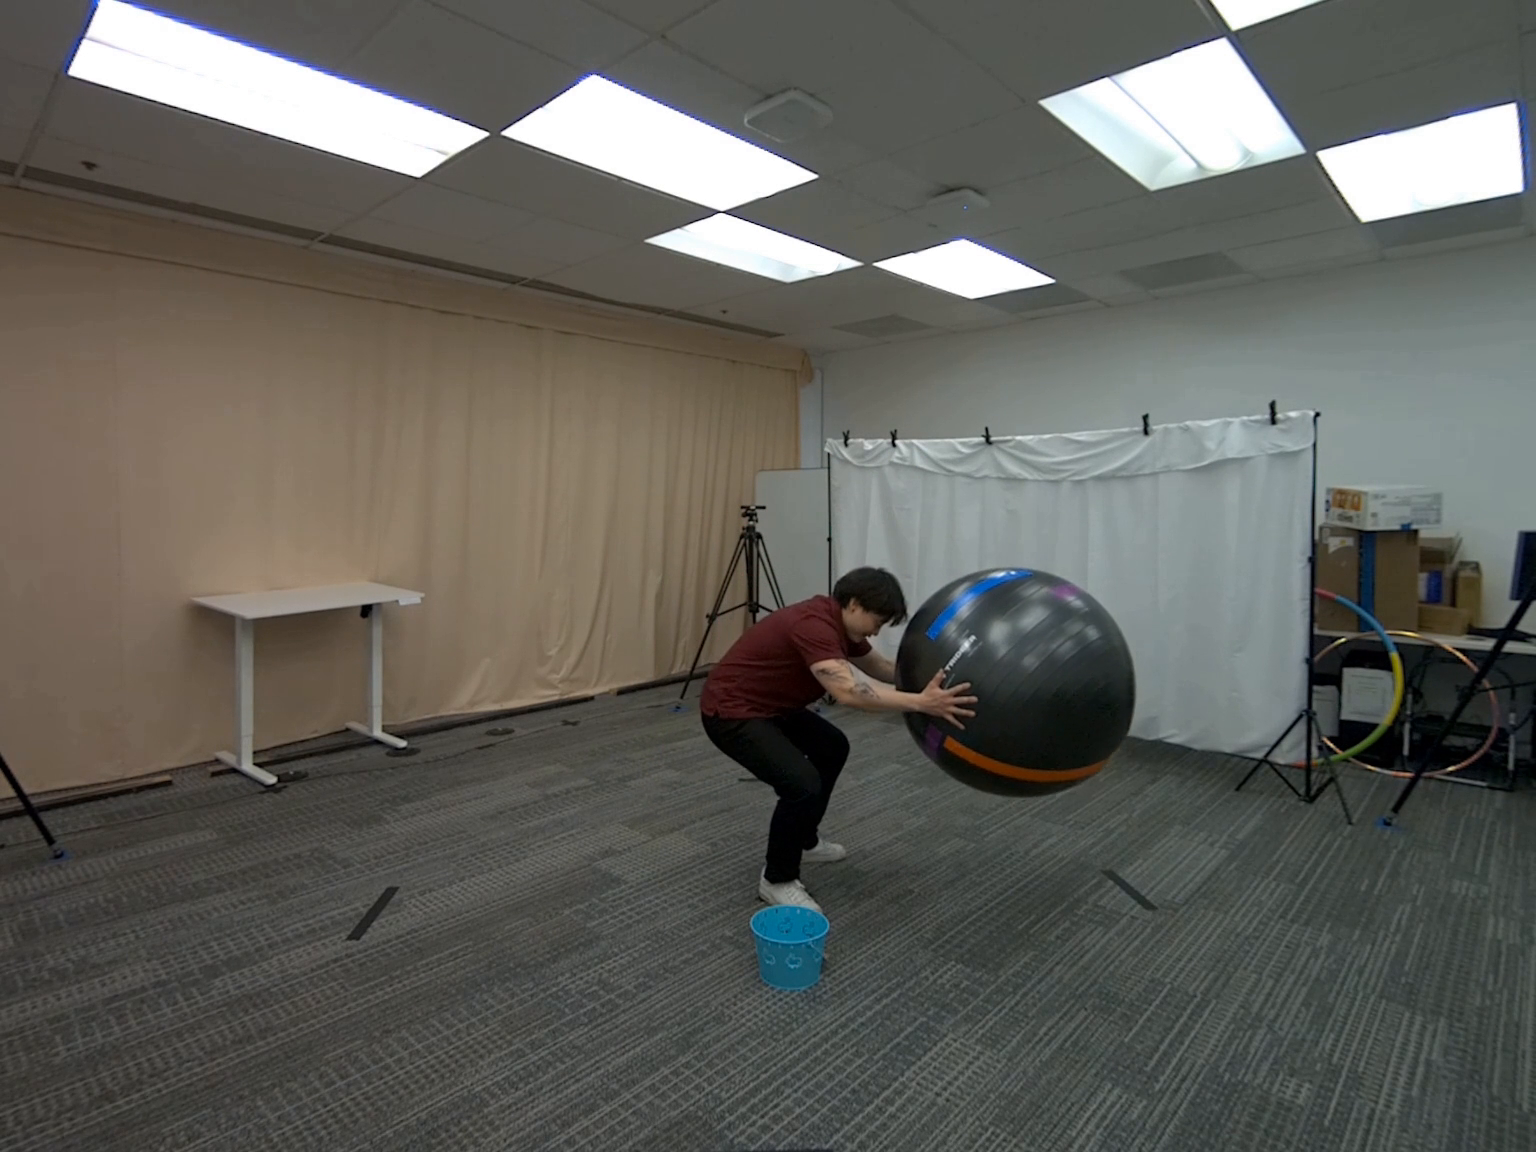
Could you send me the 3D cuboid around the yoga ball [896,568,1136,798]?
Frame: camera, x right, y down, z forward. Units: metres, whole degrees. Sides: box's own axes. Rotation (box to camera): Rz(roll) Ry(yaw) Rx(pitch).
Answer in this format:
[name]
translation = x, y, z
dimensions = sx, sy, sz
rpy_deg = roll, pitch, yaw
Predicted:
[yoga ball]
translation = 0.832, 0.355, 2.823
dimensions = 0.757, 0.756, 0.760
rpy_deg = 0, 4, -2
